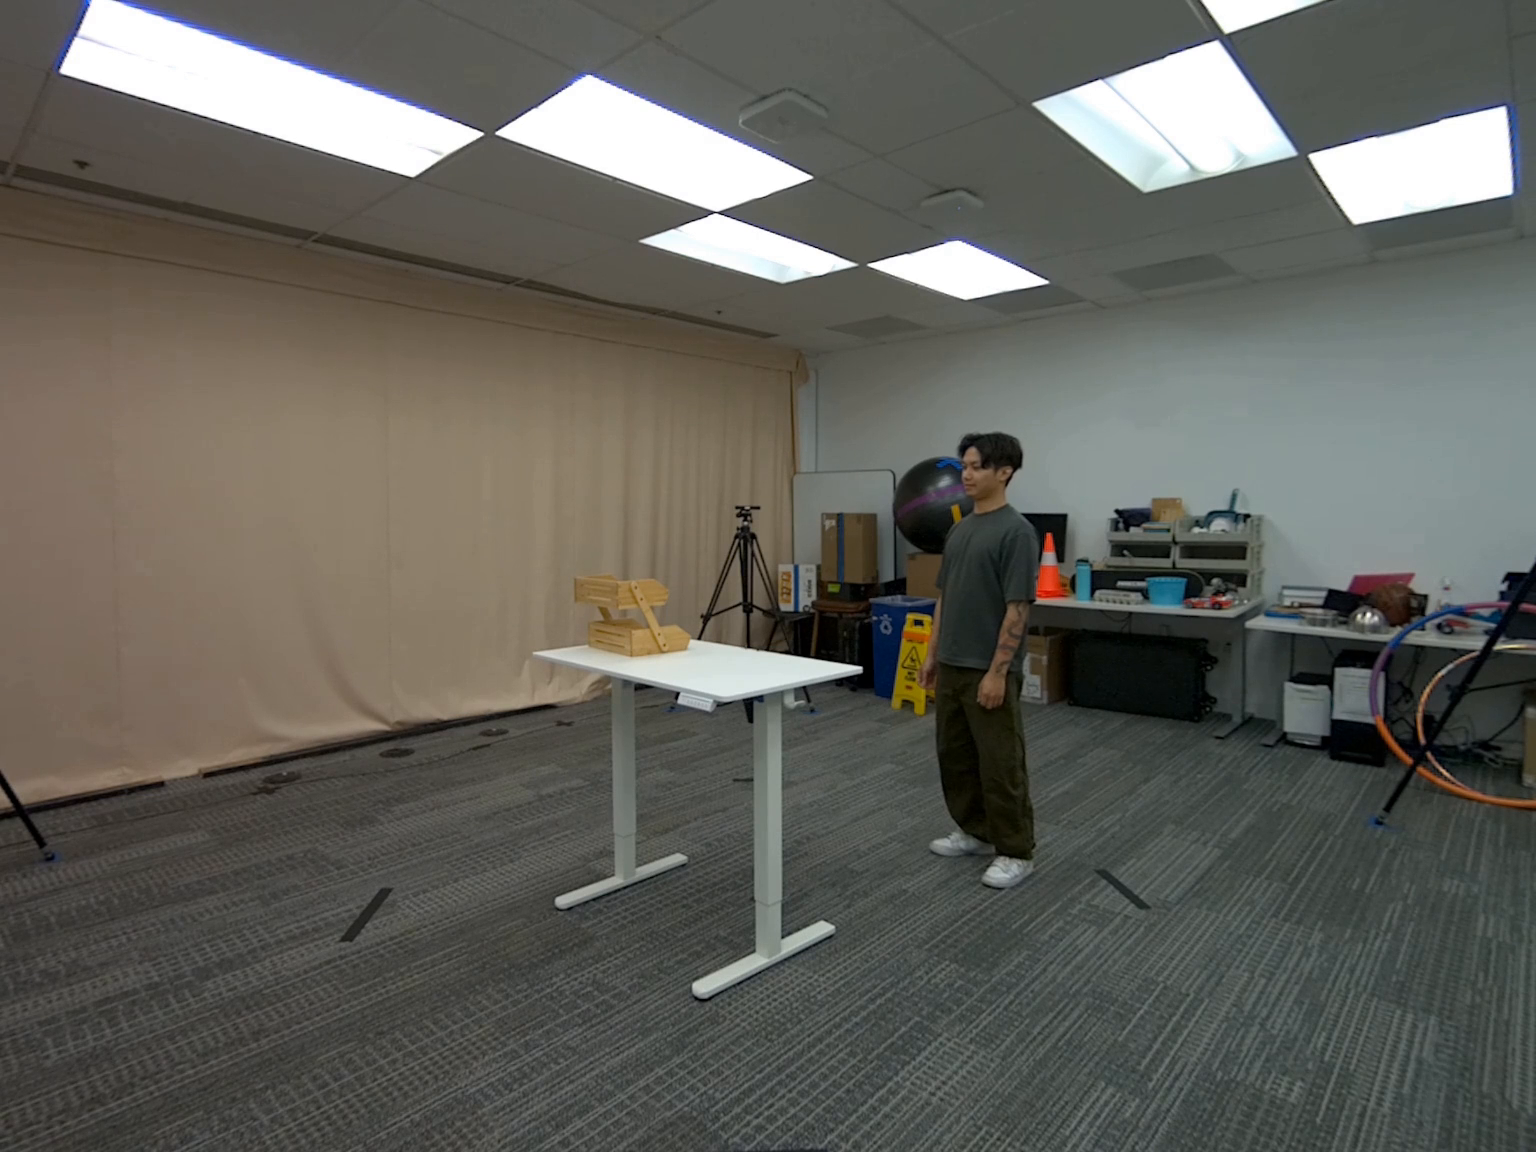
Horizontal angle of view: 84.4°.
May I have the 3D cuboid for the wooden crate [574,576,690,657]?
[{"bbox_3d":[-0.486,0.134,3.034,0.293,0.273,0.335,-3,4,-40],"label":"wooden crate"}]
